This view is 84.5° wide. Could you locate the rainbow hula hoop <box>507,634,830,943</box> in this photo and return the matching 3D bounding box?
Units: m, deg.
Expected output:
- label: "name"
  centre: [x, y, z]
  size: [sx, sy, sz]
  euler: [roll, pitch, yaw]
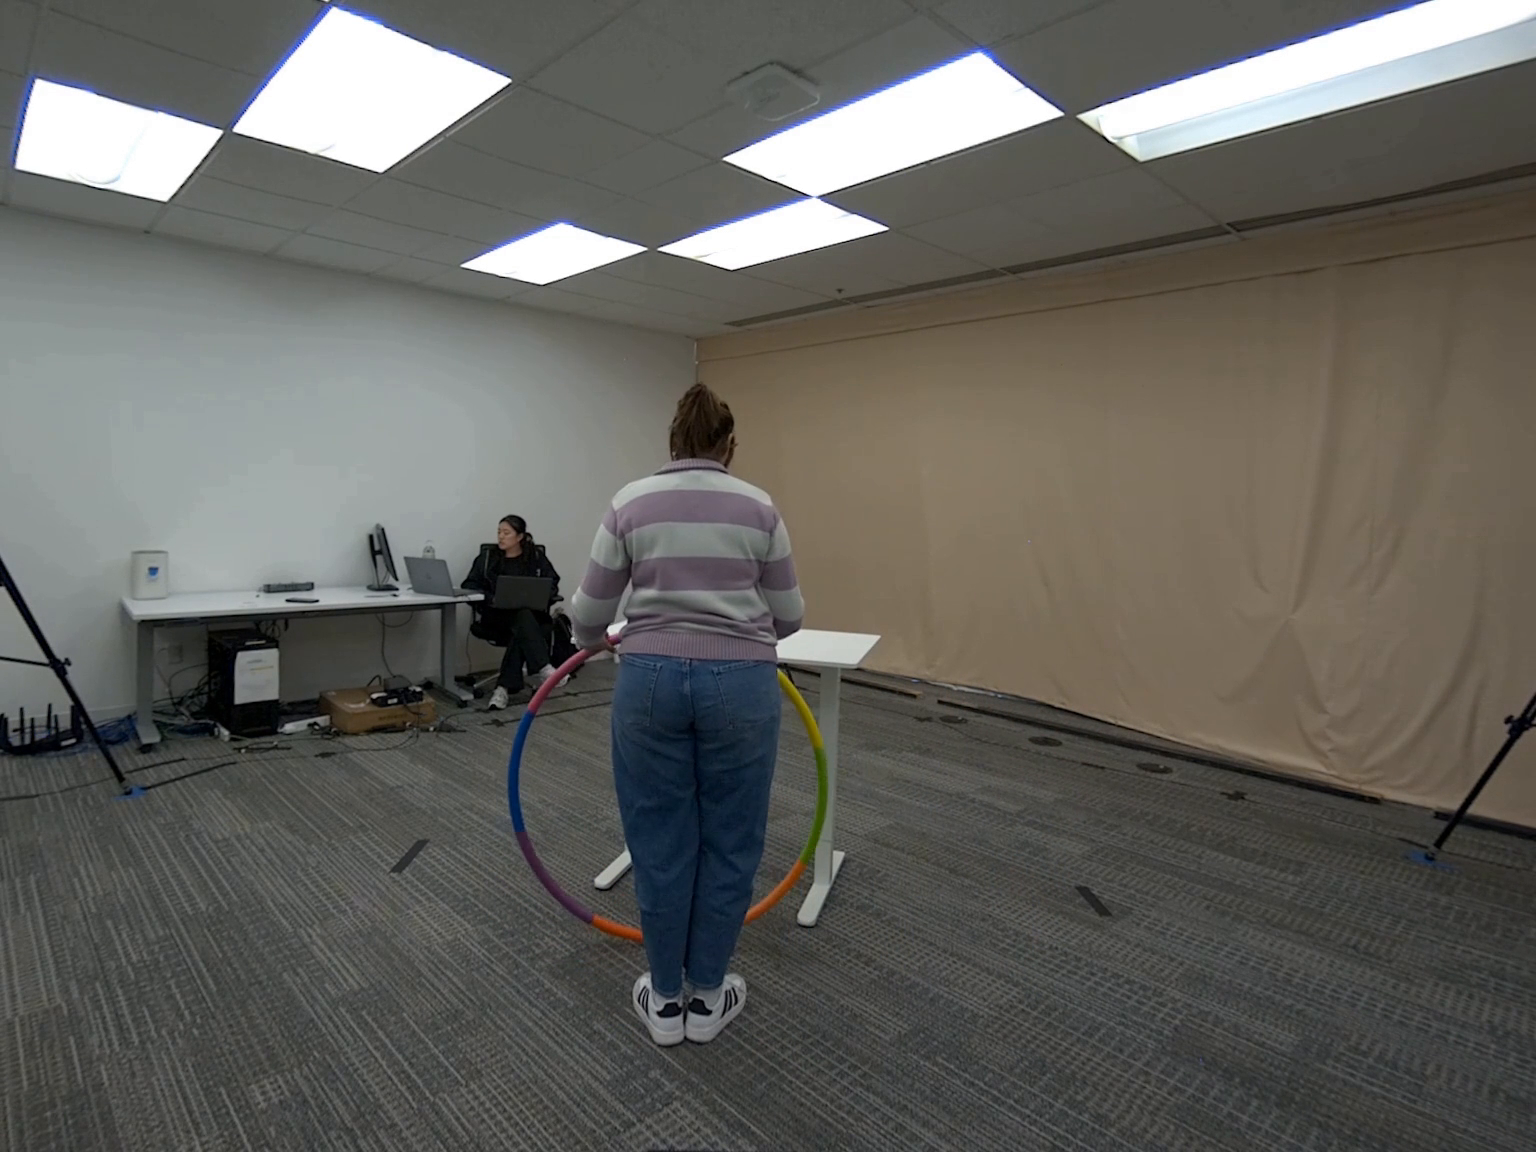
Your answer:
- label: "rainbow hula hoop"
  centre: [-0.312, 0.652, 2.548]
  size: [0.977, 0.975, 0.036]
  euler: [1, 4, -2]
